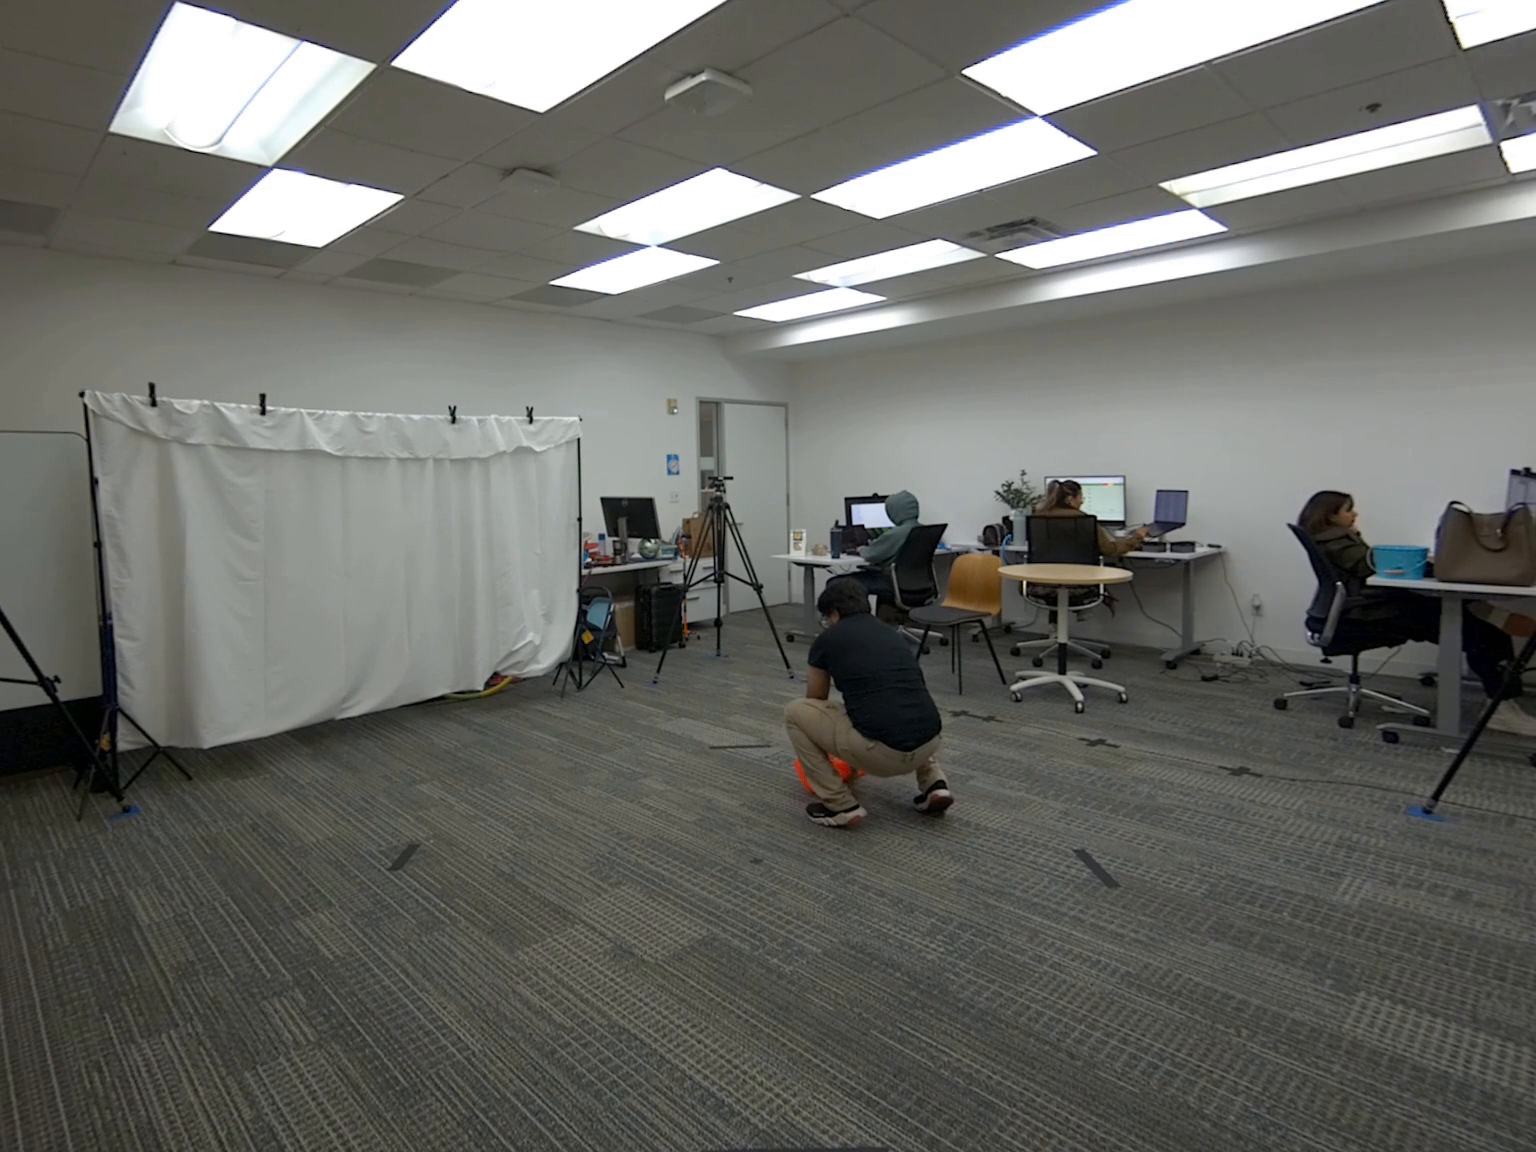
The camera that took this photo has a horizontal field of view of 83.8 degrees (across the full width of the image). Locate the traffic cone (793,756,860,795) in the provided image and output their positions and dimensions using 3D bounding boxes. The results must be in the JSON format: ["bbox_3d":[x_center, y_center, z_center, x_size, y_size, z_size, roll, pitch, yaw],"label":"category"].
[{"bbox_3d":[0.340,0.882,3.878,0.370,0.212,0.203,13,-52,-47],"label":"traffic cone"}]
